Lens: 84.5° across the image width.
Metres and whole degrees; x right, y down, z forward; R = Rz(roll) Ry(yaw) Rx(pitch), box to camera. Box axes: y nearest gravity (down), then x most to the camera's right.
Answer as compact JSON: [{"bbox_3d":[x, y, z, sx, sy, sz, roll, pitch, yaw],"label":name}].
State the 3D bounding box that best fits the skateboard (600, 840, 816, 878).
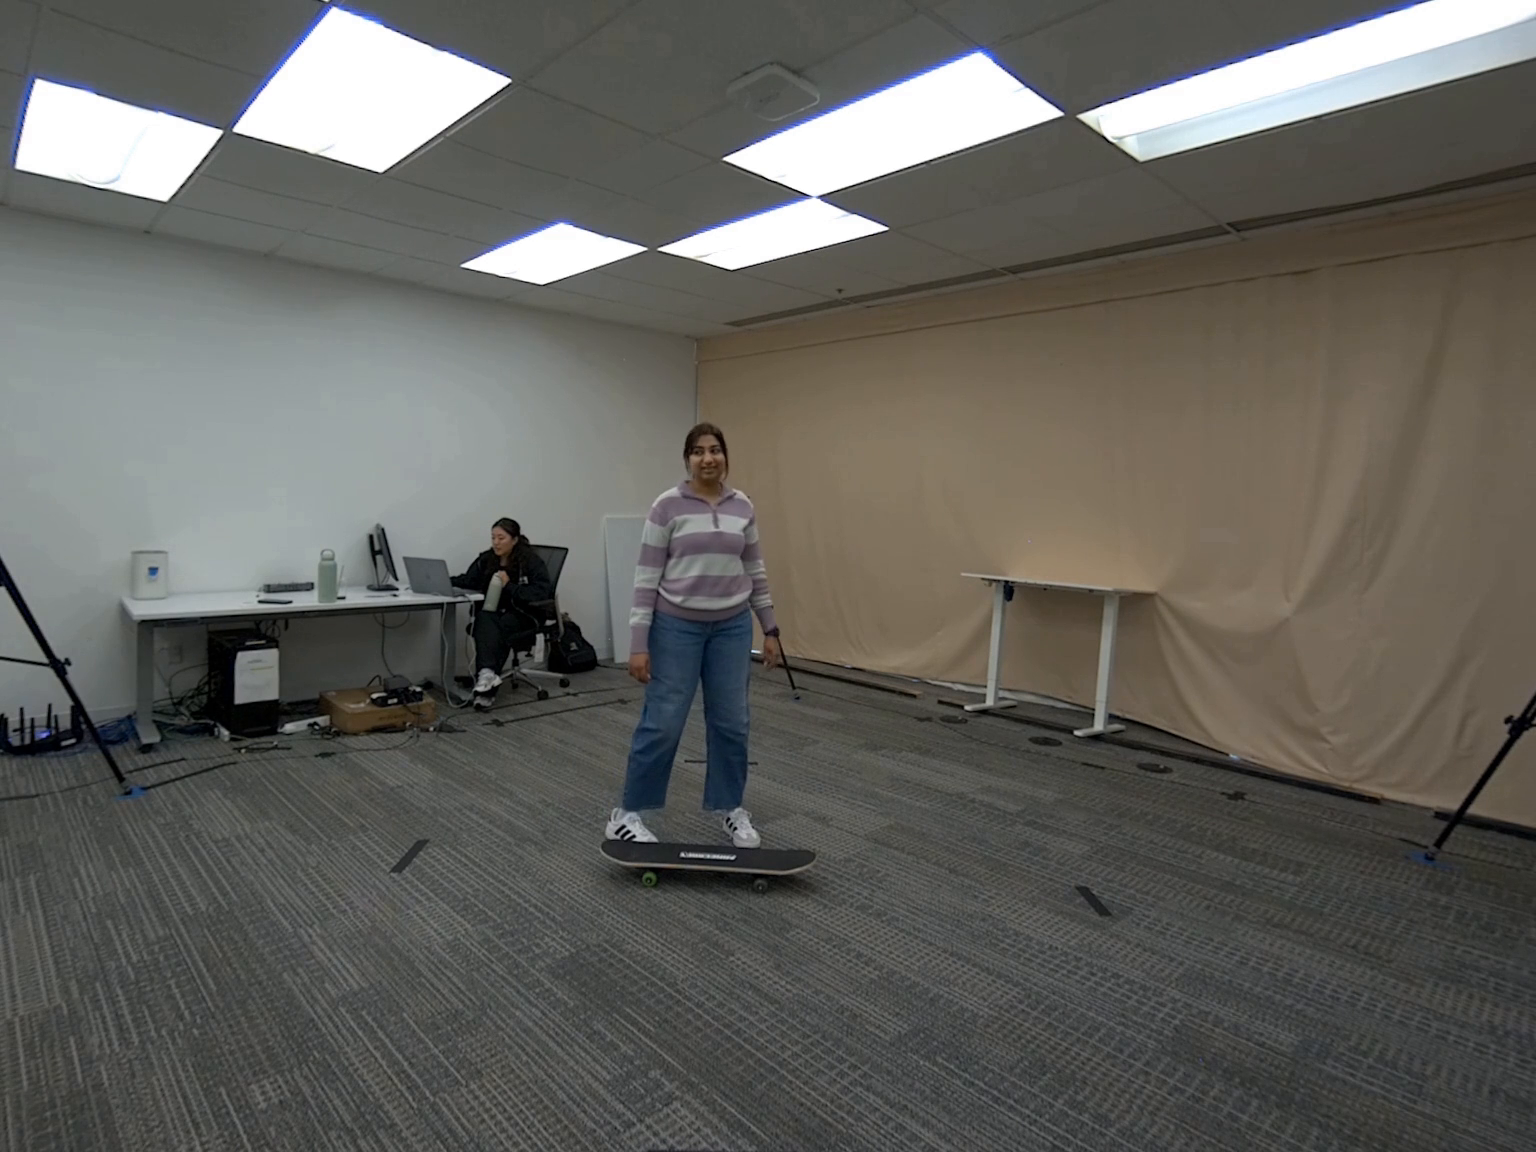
[{"bbox_3d":[-0.225,1.049,3.055,0.787,0.110,0.193,1,4,3],"label":"skateboard"}]
